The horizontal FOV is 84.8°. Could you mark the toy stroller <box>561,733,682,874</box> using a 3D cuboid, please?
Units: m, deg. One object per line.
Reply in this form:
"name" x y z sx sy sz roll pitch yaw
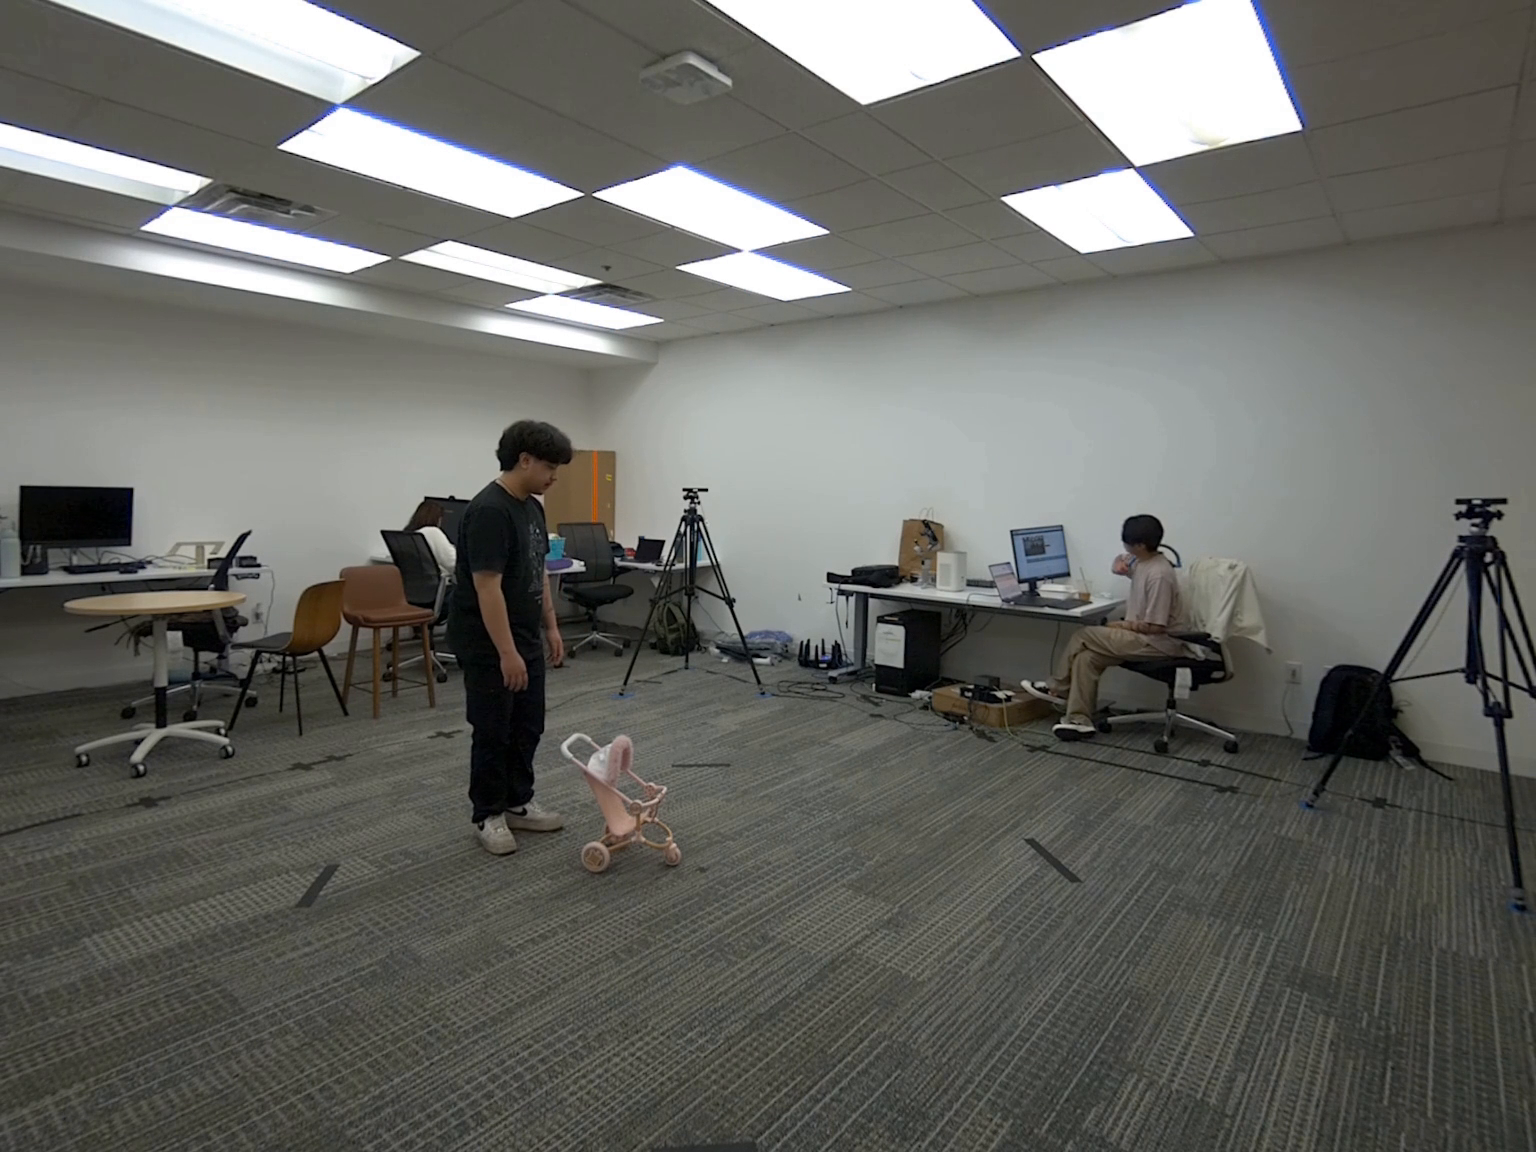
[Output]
"toy stroller" -0.547 0.834 3.164 0.346 0.536 0.278 -14 -1 15
